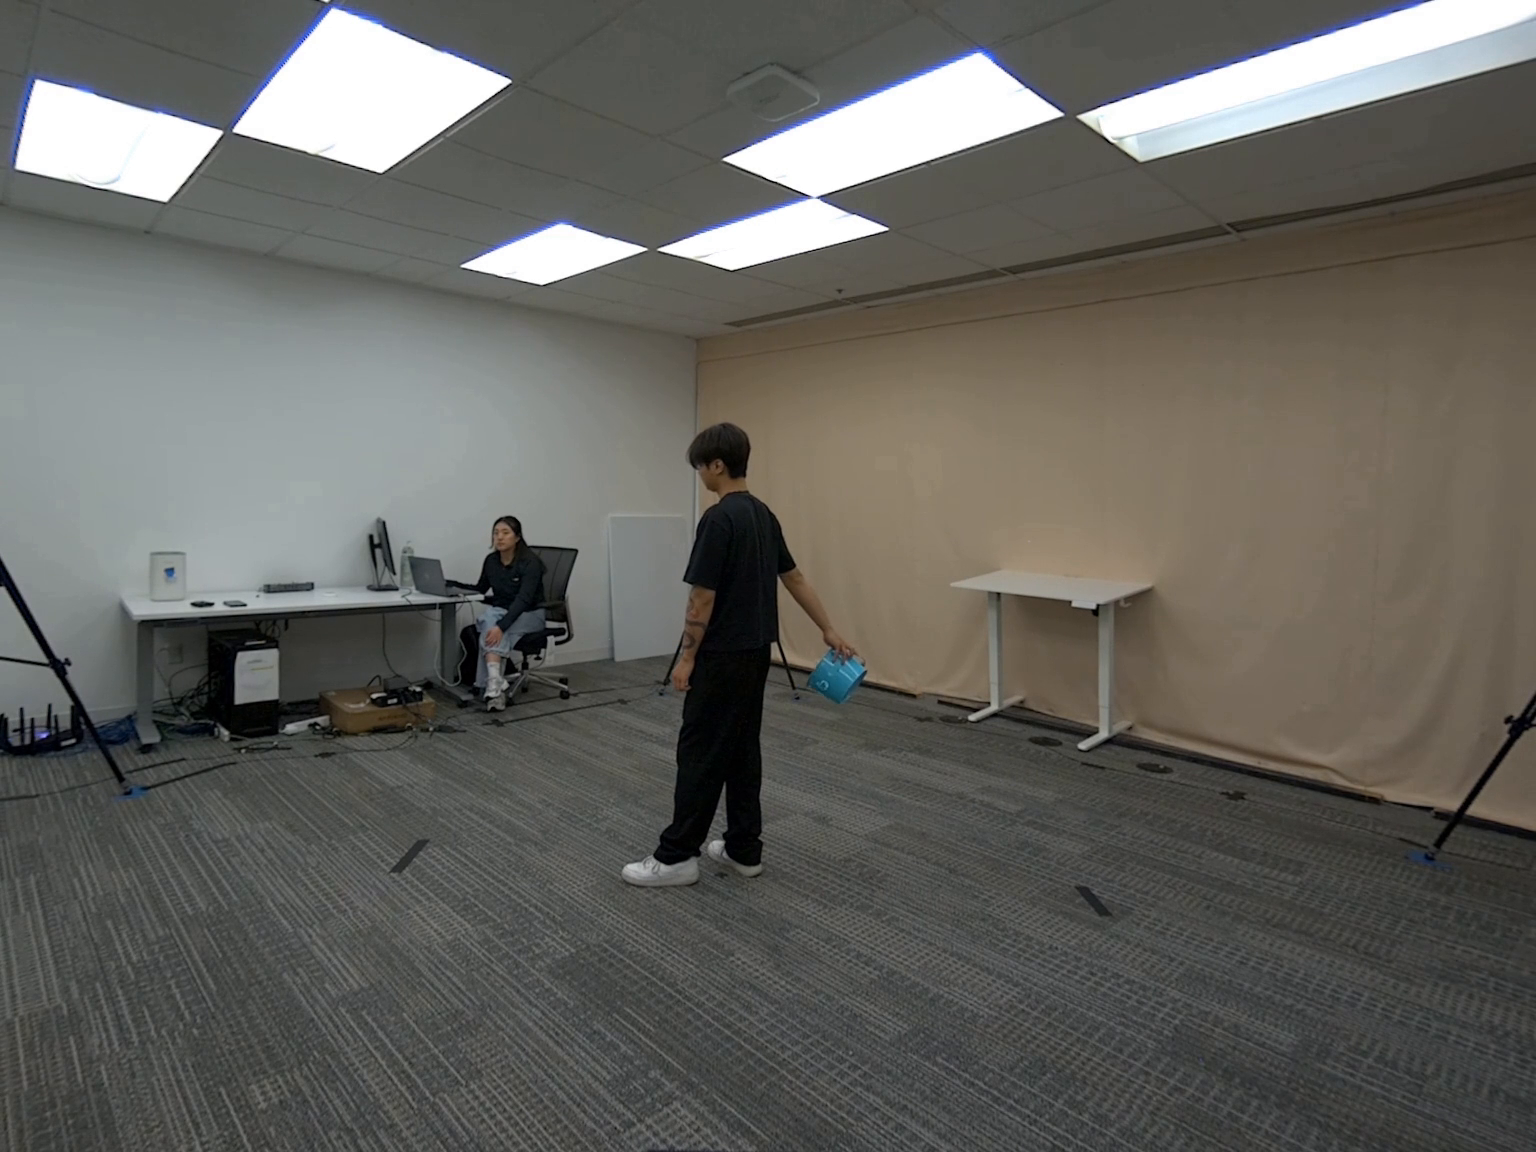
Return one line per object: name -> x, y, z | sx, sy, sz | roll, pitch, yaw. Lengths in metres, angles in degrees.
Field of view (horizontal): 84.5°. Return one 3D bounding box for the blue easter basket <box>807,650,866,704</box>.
blue easter basket -> 0.263, 0.407, 3.415 | 0.159, 0.243, 0.240 | 37, 17, 17
